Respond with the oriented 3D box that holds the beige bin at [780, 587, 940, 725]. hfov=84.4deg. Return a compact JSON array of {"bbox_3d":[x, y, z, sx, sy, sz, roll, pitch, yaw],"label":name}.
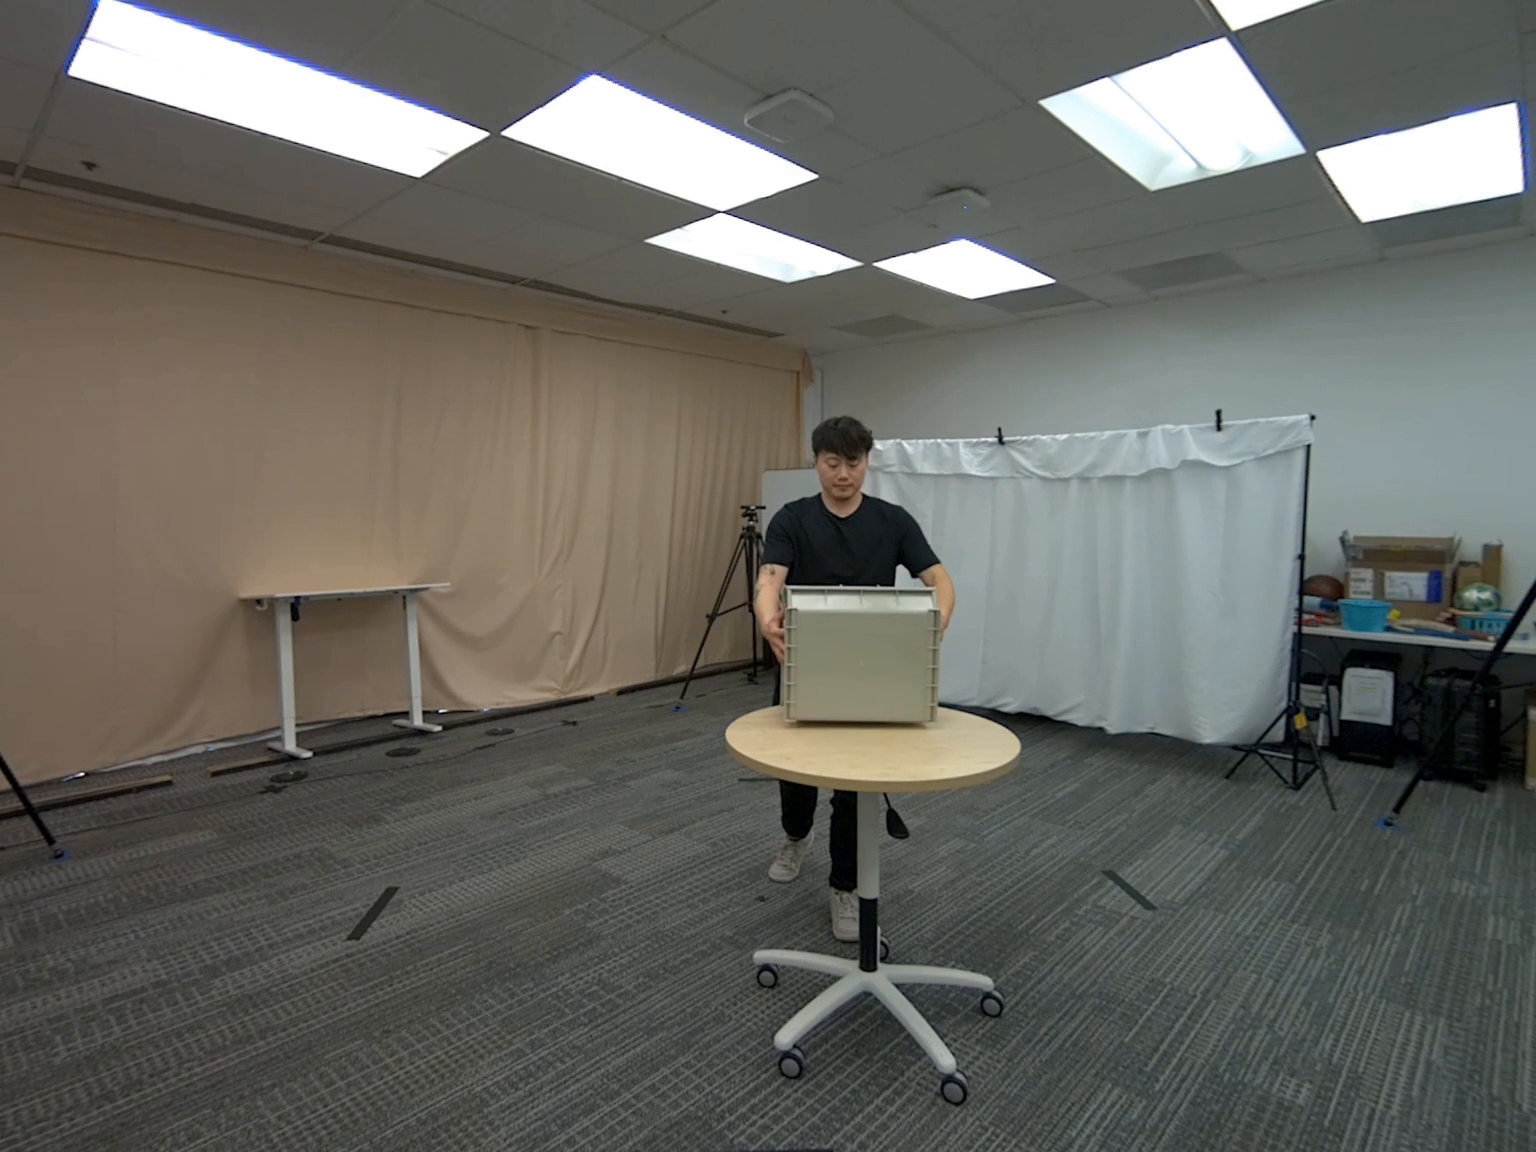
[{"bbox_3d":[0.249,0.209,2.342,0.423,0.376,0.189,0,6,1],"label":"beige bin"}]
